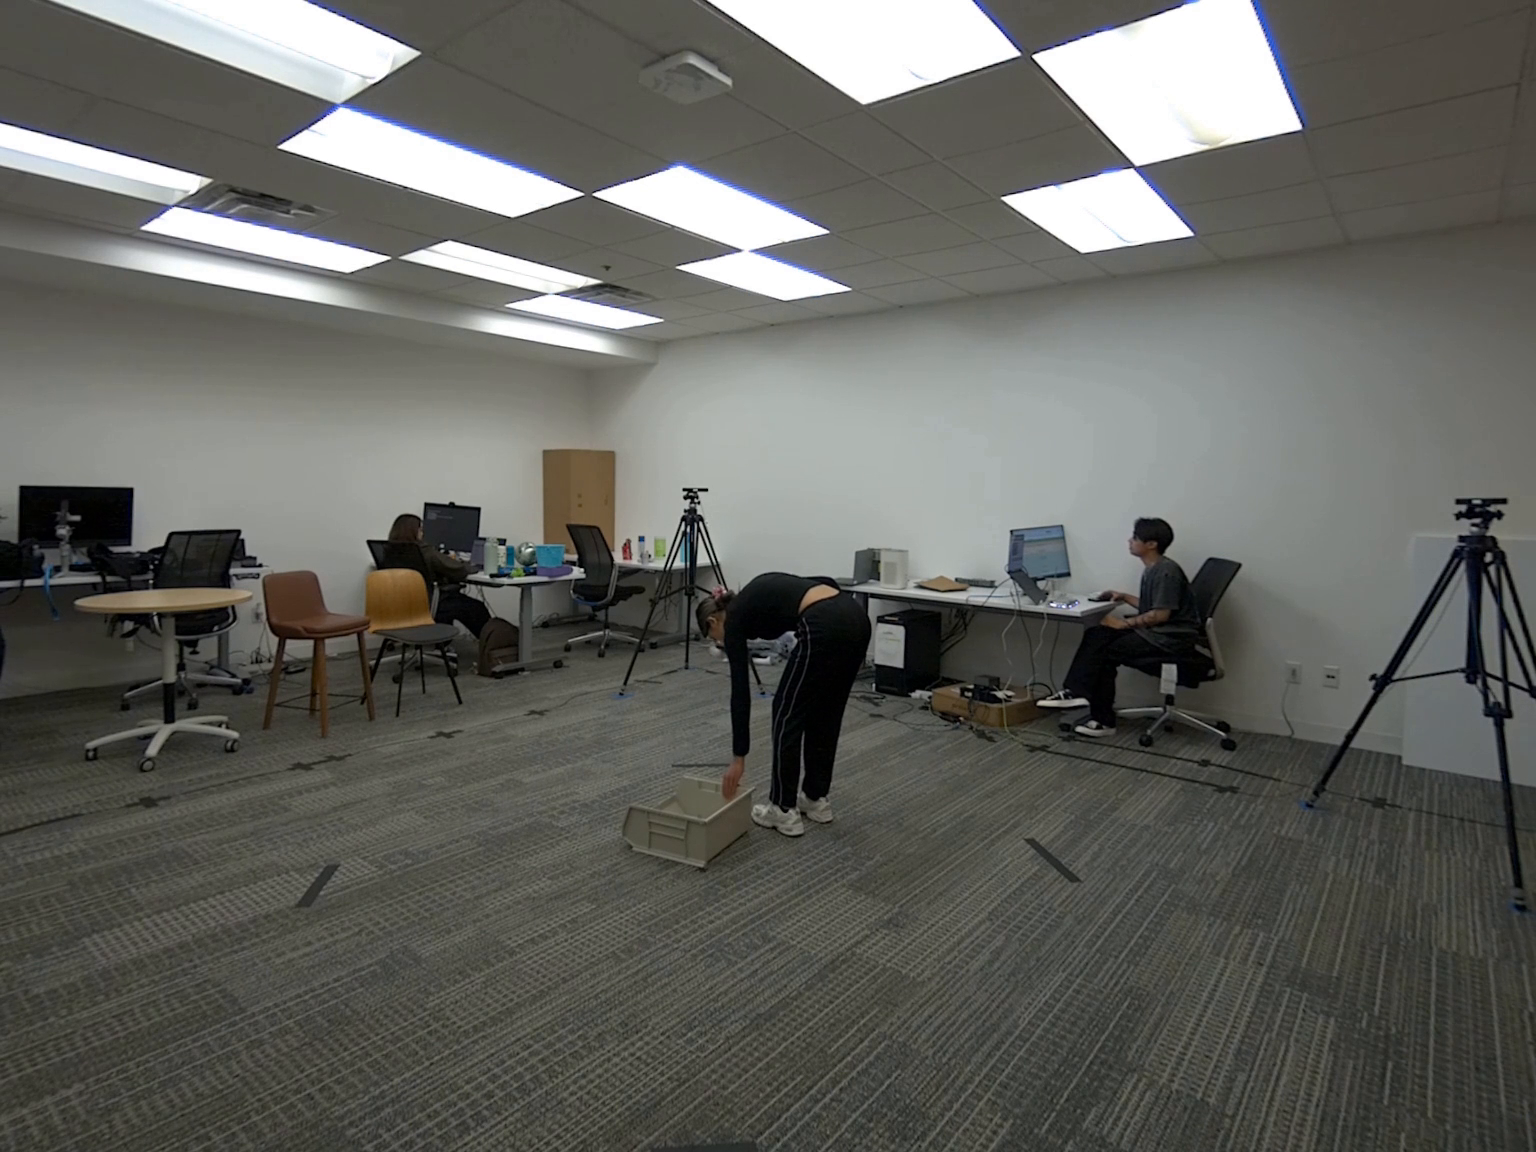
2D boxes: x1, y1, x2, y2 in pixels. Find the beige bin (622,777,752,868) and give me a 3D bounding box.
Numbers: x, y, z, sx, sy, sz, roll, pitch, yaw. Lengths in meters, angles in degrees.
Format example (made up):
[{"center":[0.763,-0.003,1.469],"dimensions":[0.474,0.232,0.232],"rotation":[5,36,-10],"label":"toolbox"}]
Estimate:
[{"center":[-0.320,0.956,3.376],"dimensions":[0.388,0.188,0.412],"rotation":[4,5,26],"label":"beige bin"}]
